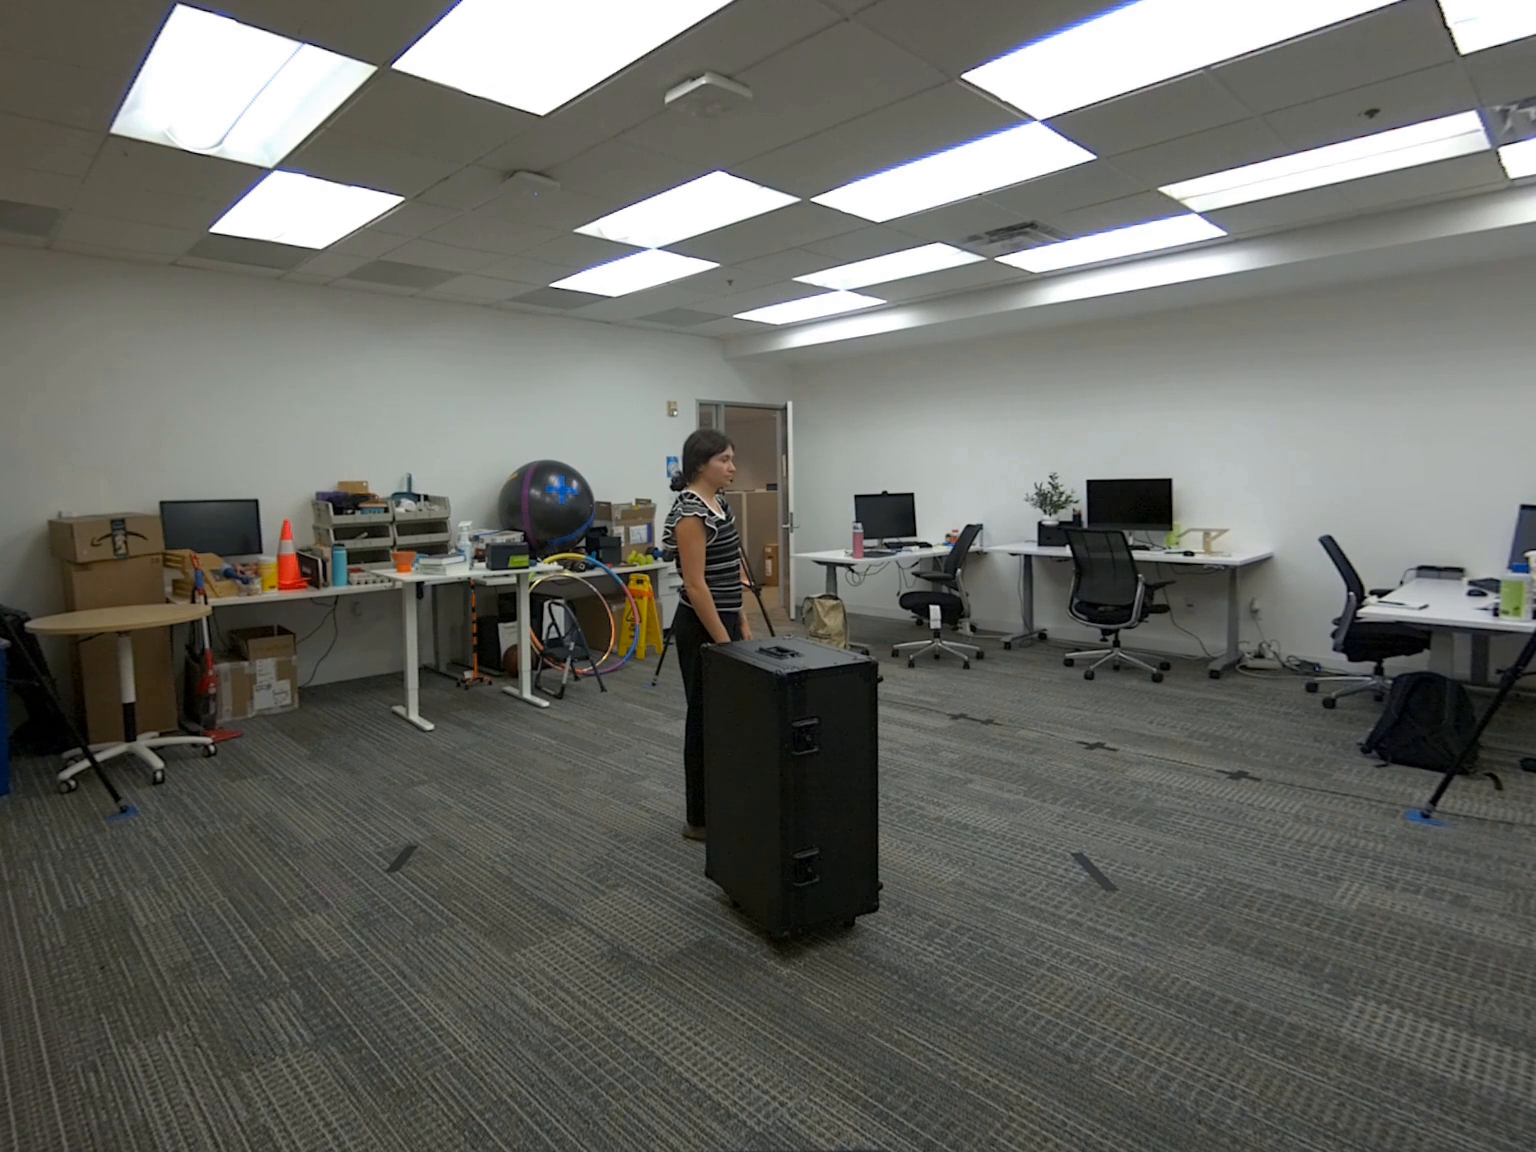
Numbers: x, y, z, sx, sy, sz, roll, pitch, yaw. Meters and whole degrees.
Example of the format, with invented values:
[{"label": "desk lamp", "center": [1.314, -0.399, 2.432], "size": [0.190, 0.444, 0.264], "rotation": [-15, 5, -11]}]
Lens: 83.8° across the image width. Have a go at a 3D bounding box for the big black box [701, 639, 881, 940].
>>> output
[{"label": "big black box", "center": [0.069, 0.661, 2.726], "size": [0.387, 0.859, 0.535], "rotation": [-2, 4, -29]}]
